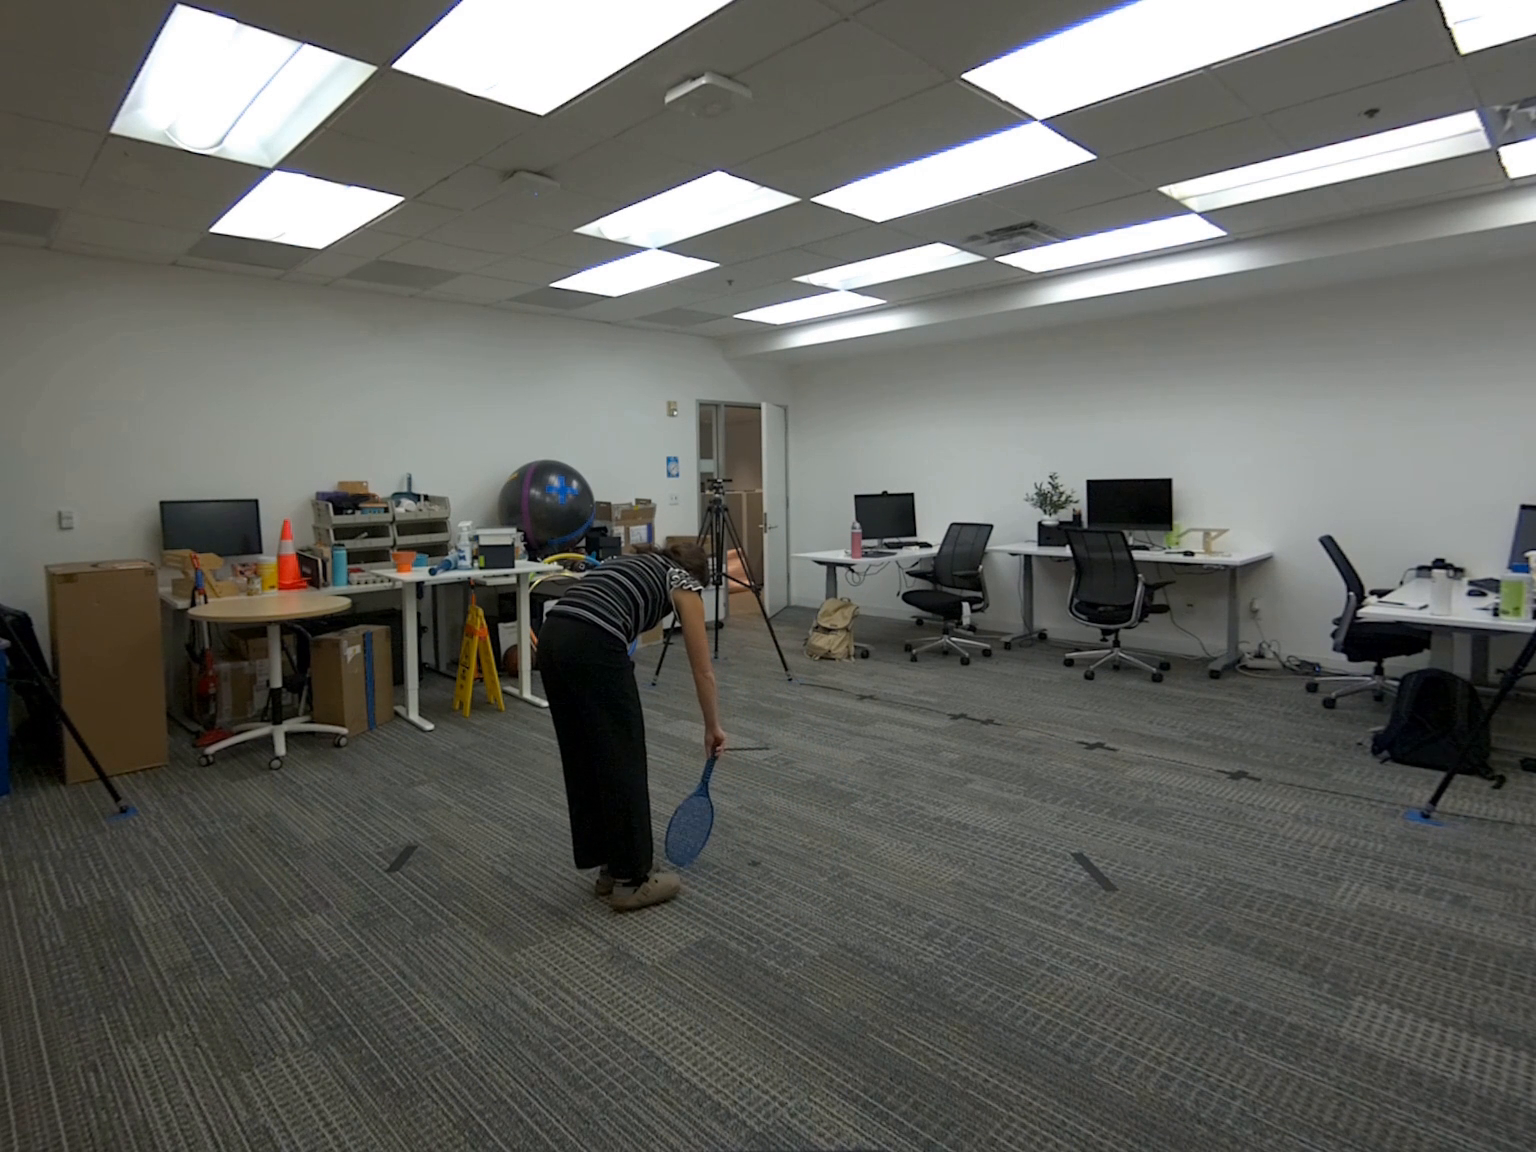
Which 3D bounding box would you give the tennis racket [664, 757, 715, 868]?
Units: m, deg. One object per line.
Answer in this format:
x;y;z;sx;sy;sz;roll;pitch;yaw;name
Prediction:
-0.252;0.839;3.113;0.206;0.434;0.033;24;-8;-42;tennis racket
